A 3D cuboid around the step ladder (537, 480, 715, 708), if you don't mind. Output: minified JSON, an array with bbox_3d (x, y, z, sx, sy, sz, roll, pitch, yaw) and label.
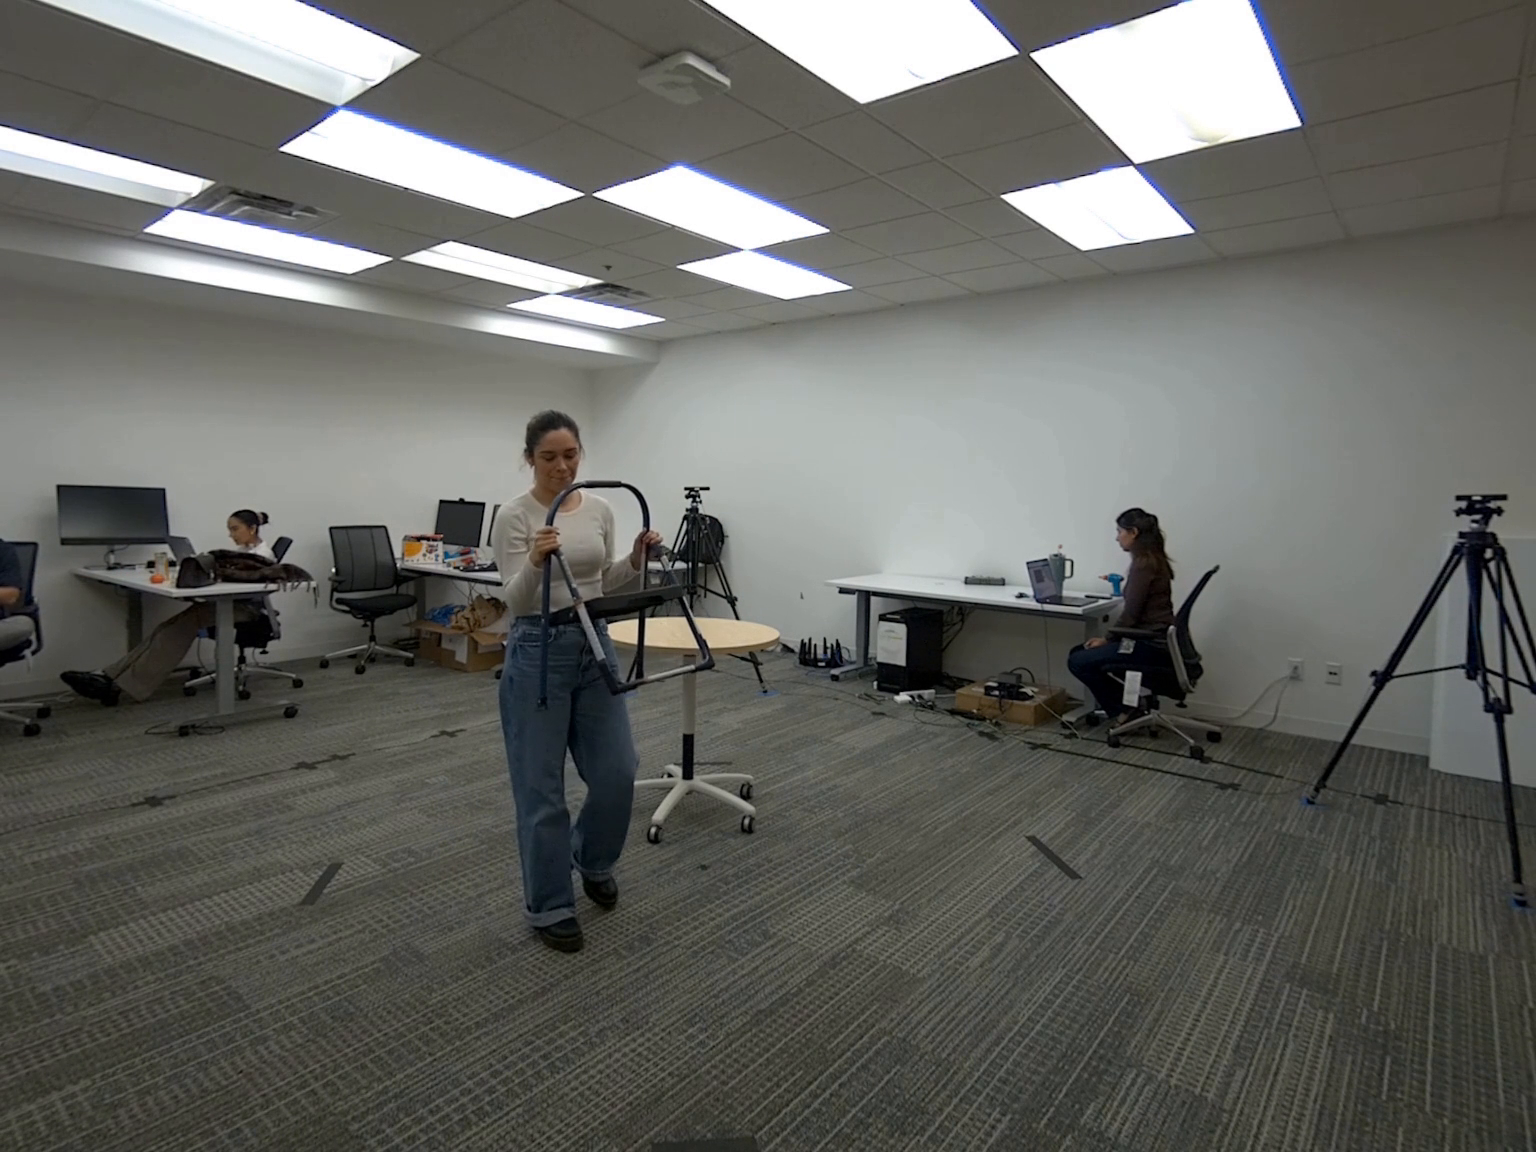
[{"bbox_3d":[-0.480,0.031,2.503,0.357,0.610,0.419,-17,-6,37],"label":"step ladder"}]
